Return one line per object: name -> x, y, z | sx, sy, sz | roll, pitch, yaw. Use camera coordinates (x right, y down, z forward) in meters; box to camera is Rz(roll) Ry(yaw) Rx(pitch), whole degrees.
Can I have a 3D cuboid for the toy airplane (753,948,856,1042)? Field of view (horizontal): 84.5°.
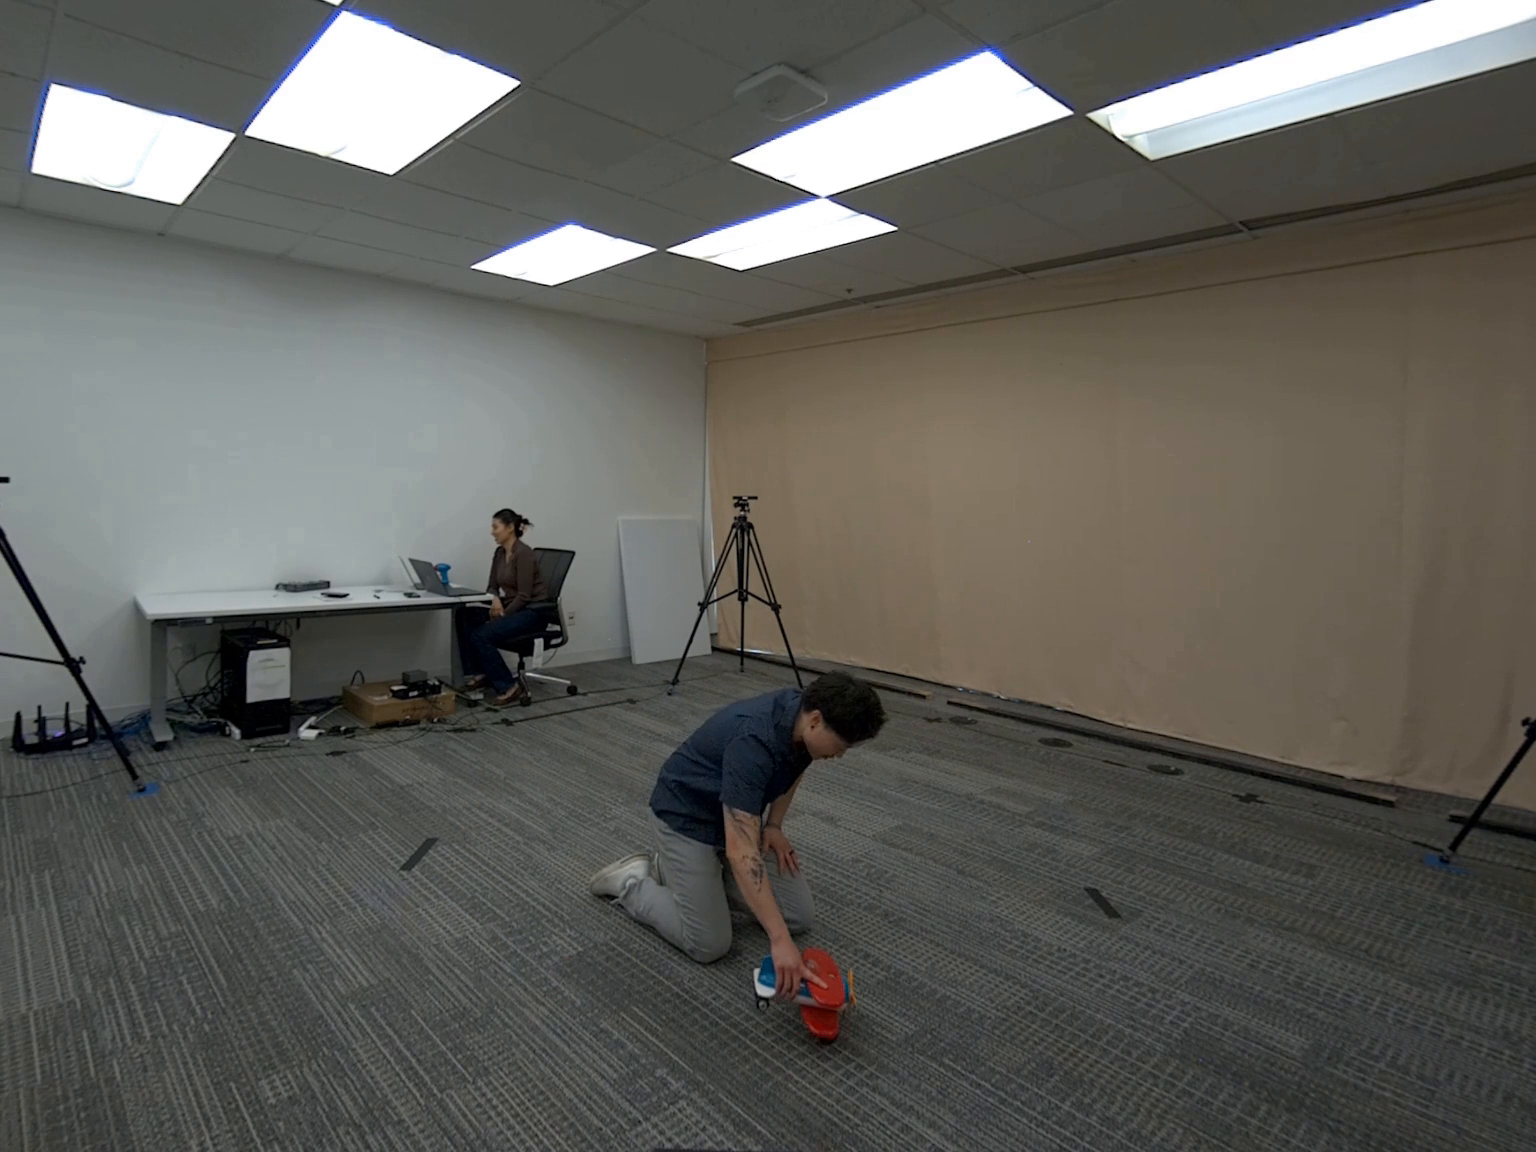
toy airplane -> 0.092, 1.097, 2.178 | 0.252, 0.156, 0.258 | 23, 3, -34
